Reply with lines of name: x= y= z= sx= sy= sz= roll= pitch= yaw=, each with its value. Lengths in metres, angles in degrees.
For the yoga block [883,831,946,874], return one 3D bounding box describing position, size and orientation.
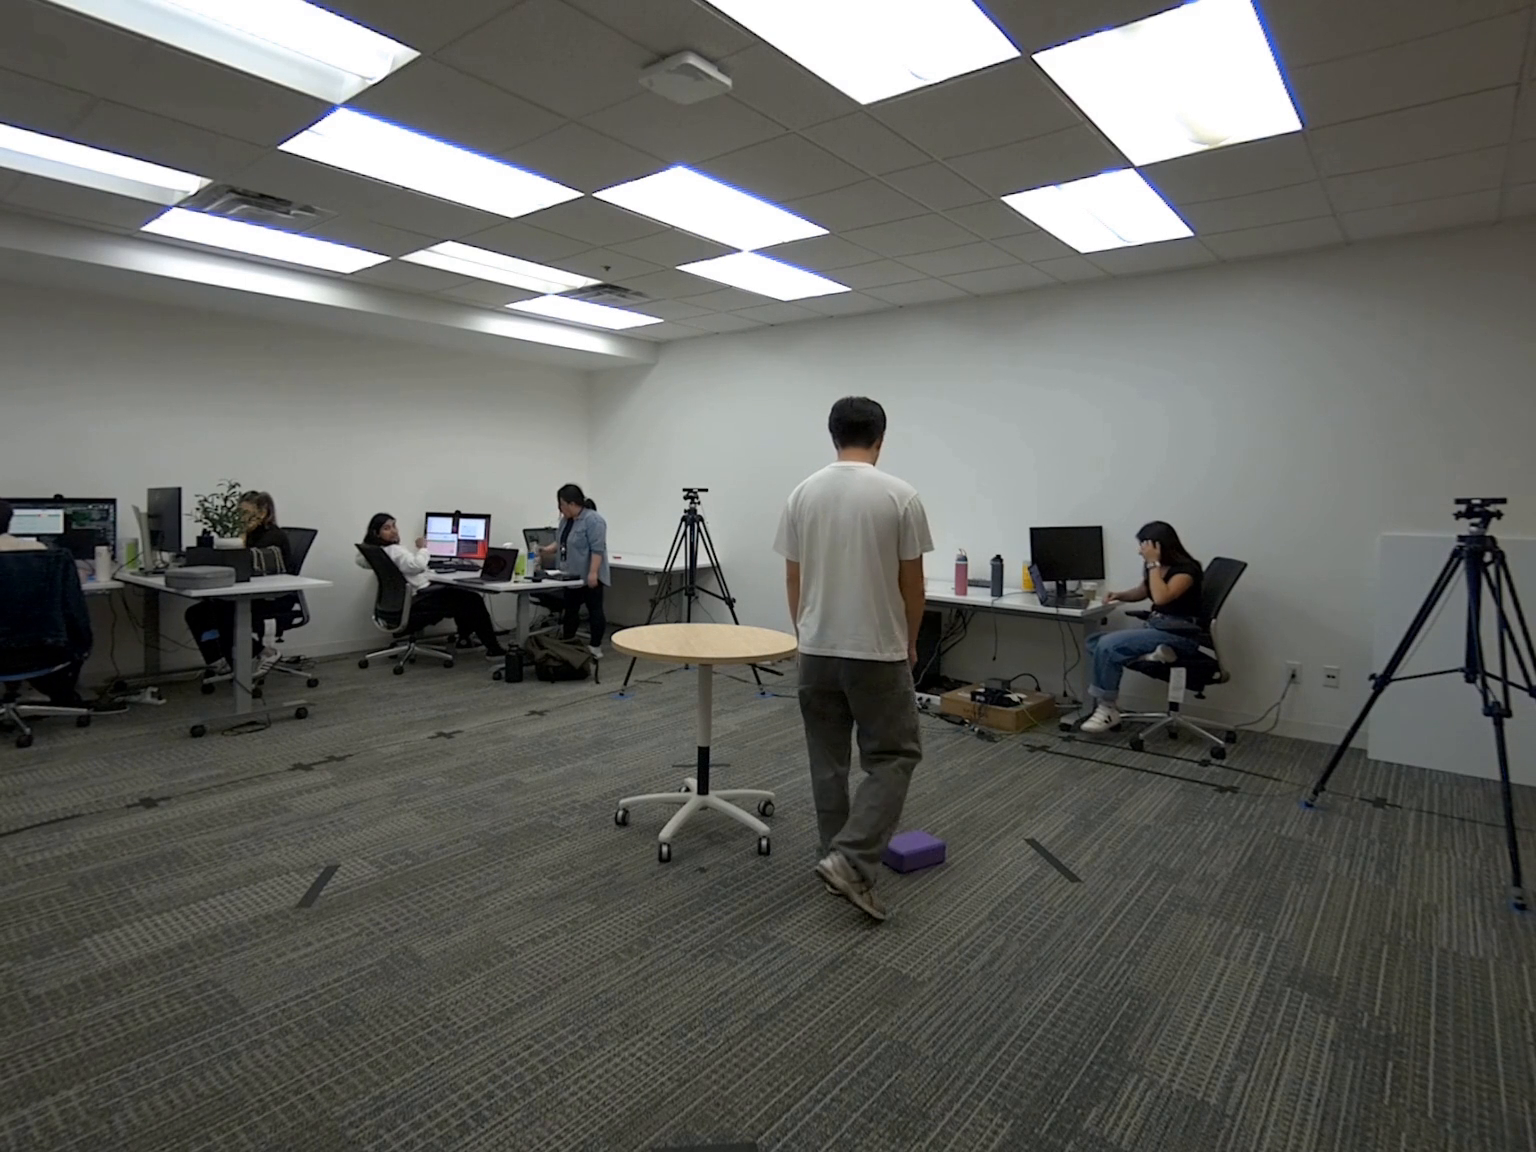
yoga block: x=0.545 y=1.028 z=3.221 sx=0.223 sy=0.076 sz=0.154 roll=-1 pitch=6 yaw=-33
